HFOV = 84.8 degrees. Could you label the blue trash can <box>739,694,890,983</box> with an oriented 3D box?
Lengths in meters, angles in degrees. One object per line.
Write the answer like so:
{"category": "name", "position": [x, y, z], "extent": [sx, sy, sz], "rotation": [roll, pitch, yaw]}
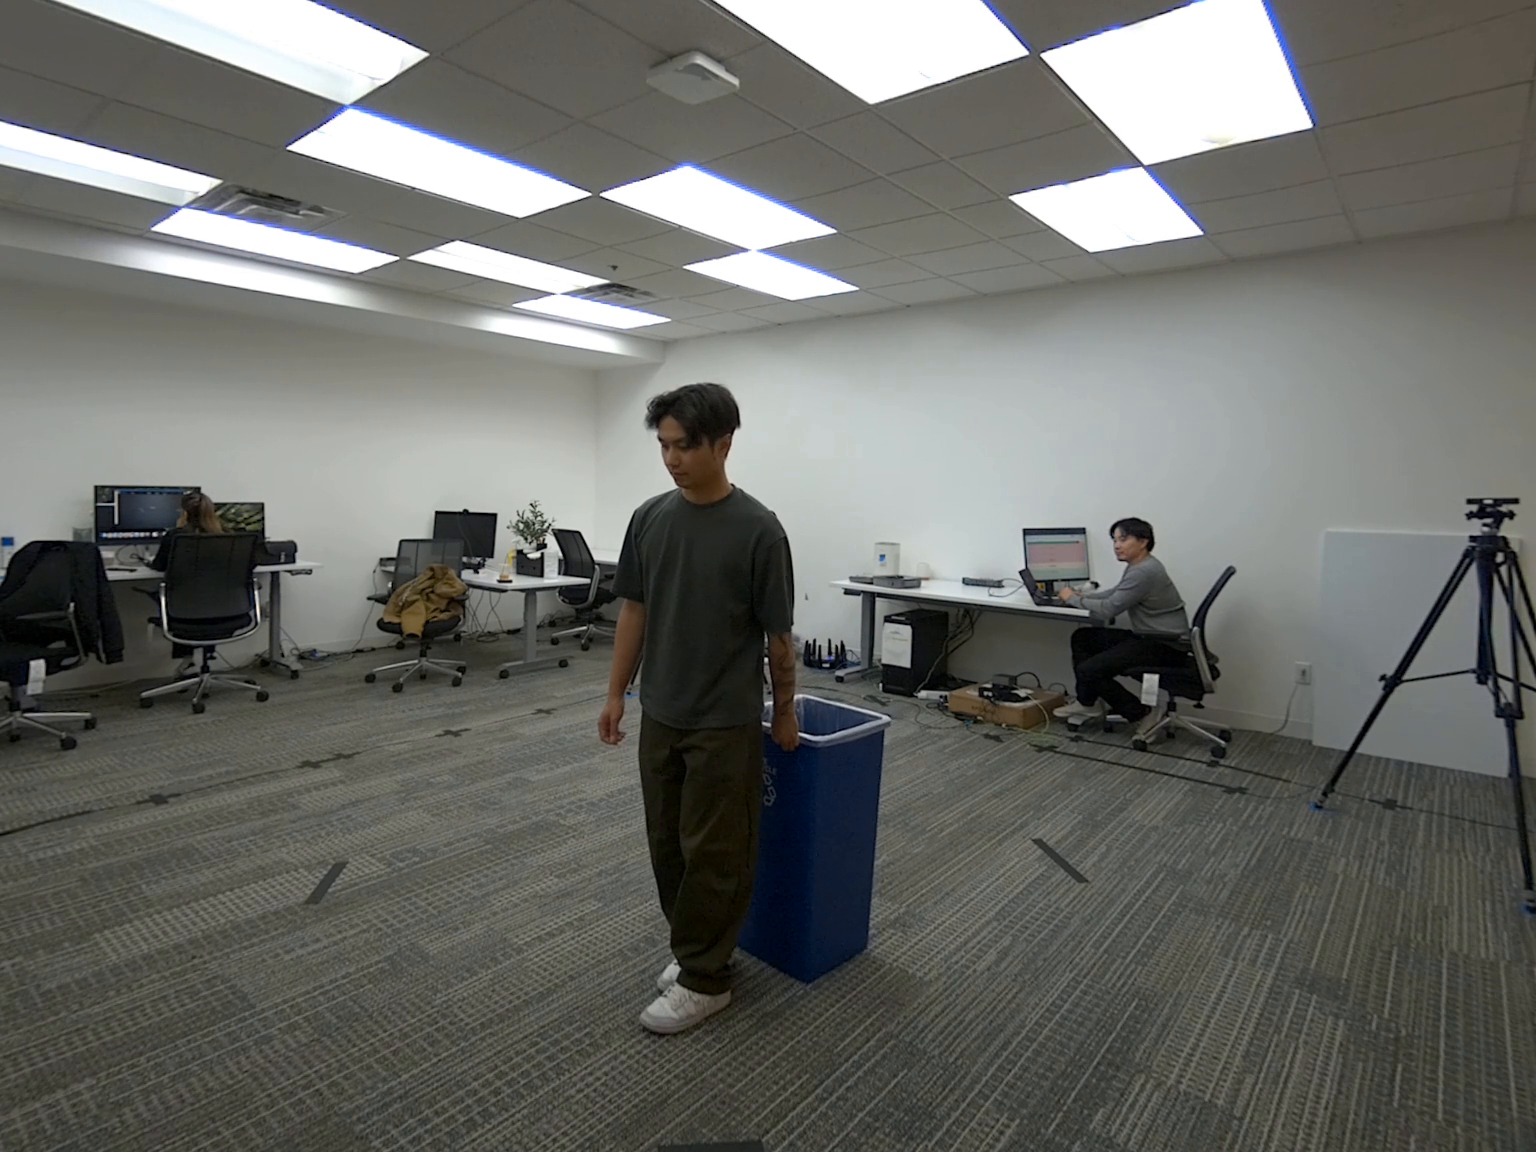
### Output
{"category": "blue trash can", "position": [0.112, 0.766, 2.575], "extent": [0.387, 0.711, 0.366], "rotation": [5, 5, 42]}
